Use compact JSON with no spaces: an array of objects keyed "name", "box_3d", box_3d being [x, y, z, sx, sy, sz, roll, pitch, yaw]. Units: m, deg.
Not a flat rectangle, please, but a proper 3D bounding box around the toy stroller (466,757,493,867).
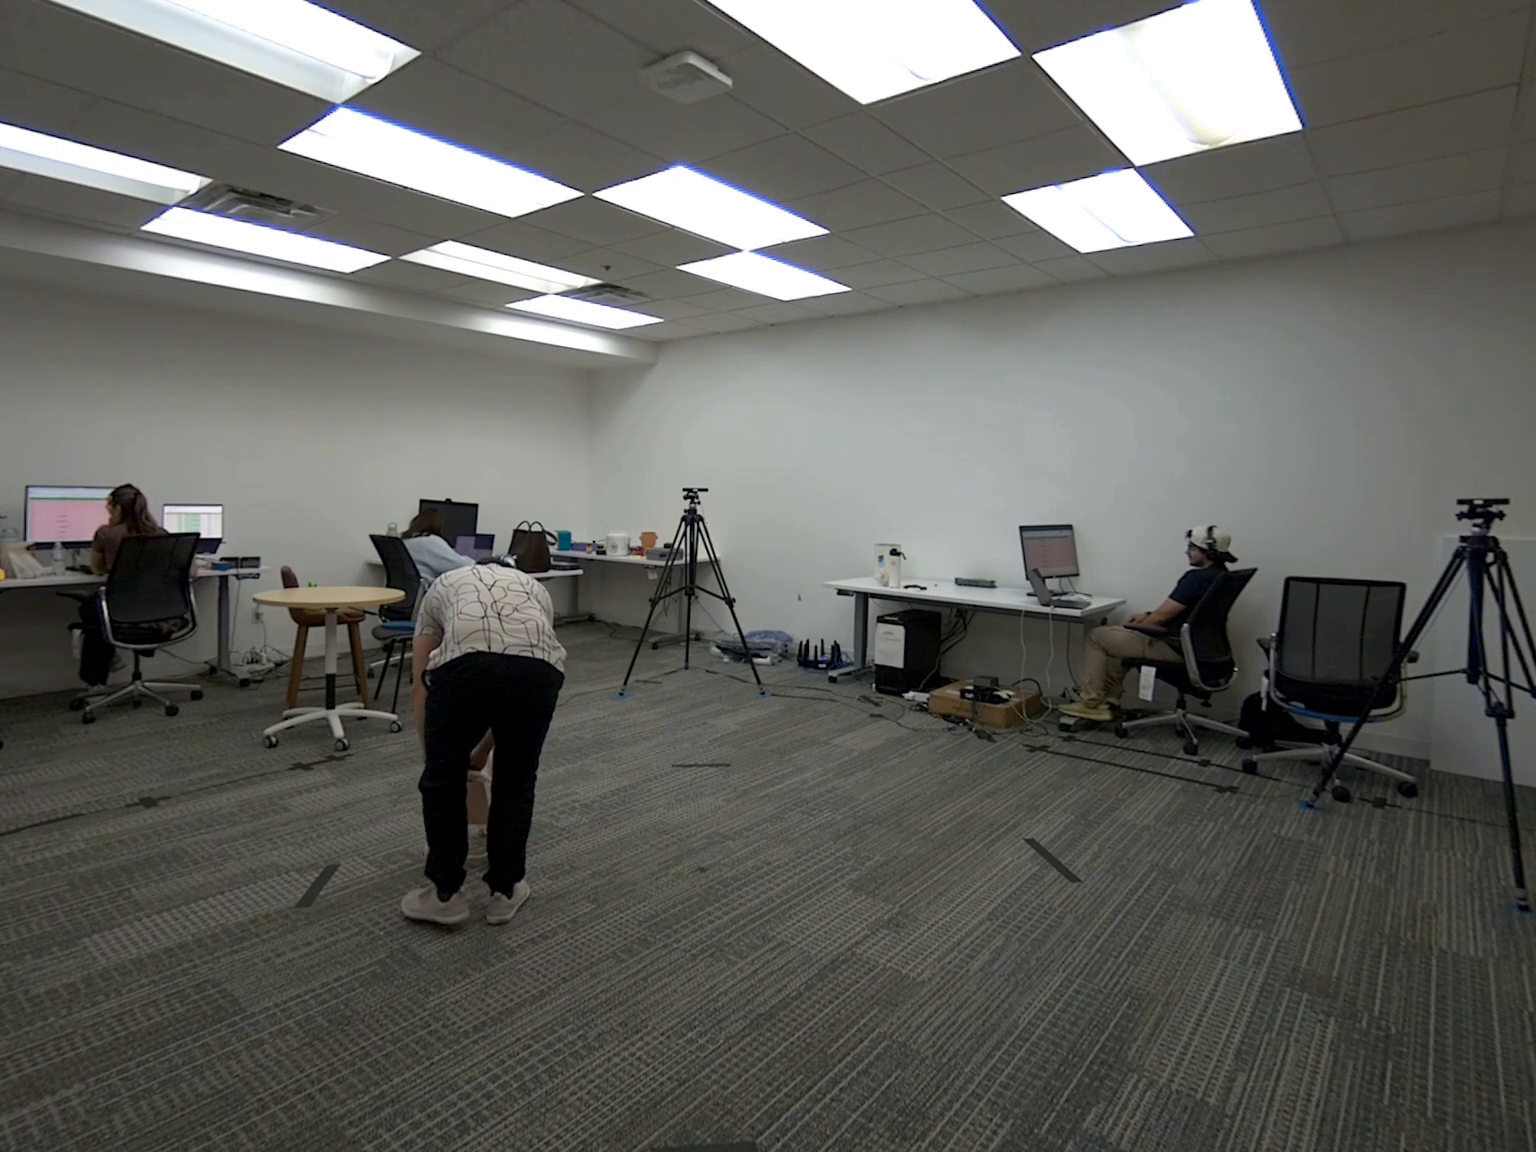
[{"name":"toy stroller","box_3d":[-1.114,0.827,3.171,0.282,0.525,0.347,1,22,1]}]
